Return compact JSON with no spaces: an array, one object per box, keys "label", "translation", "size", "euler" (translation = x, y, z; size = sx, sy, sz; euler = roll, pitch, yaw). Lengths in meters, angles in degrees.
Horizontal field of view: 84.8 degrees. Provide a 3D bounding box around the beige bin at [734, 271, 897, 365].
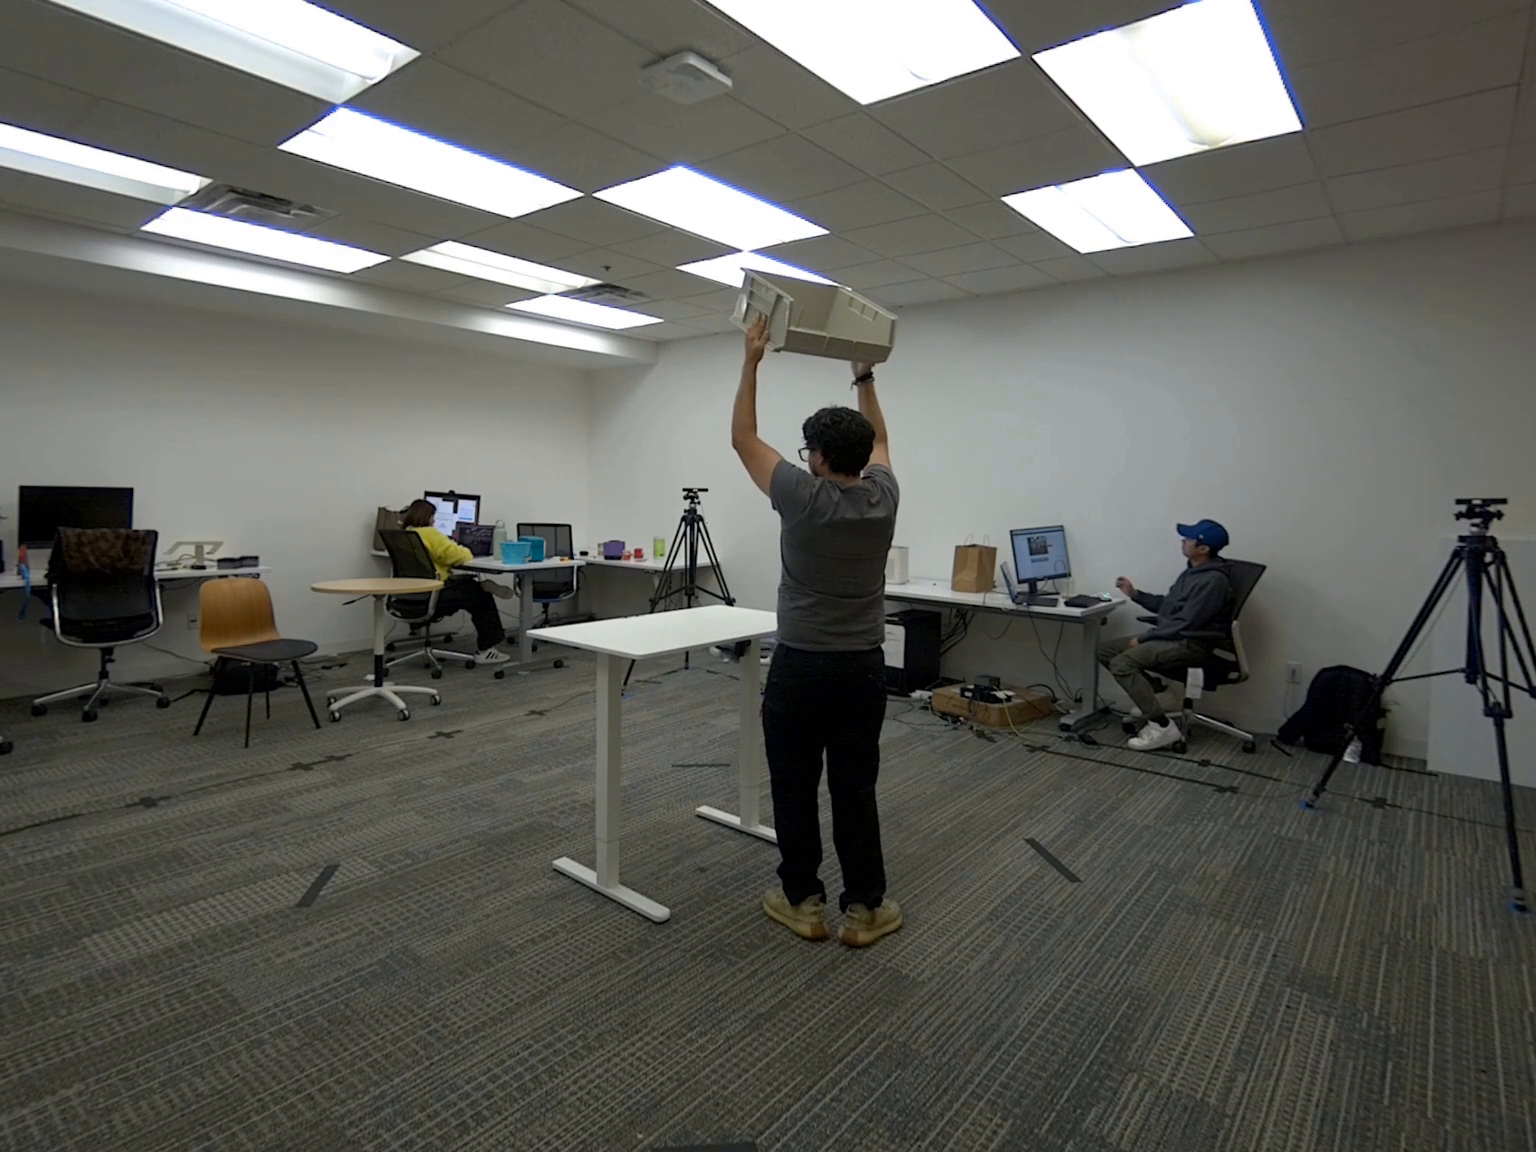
[{"label":"beige bin","translation":[0.138,-0.844,2.801],"size":[0.411,0.186,0.393],"euler":[-1,31,-30]}]
